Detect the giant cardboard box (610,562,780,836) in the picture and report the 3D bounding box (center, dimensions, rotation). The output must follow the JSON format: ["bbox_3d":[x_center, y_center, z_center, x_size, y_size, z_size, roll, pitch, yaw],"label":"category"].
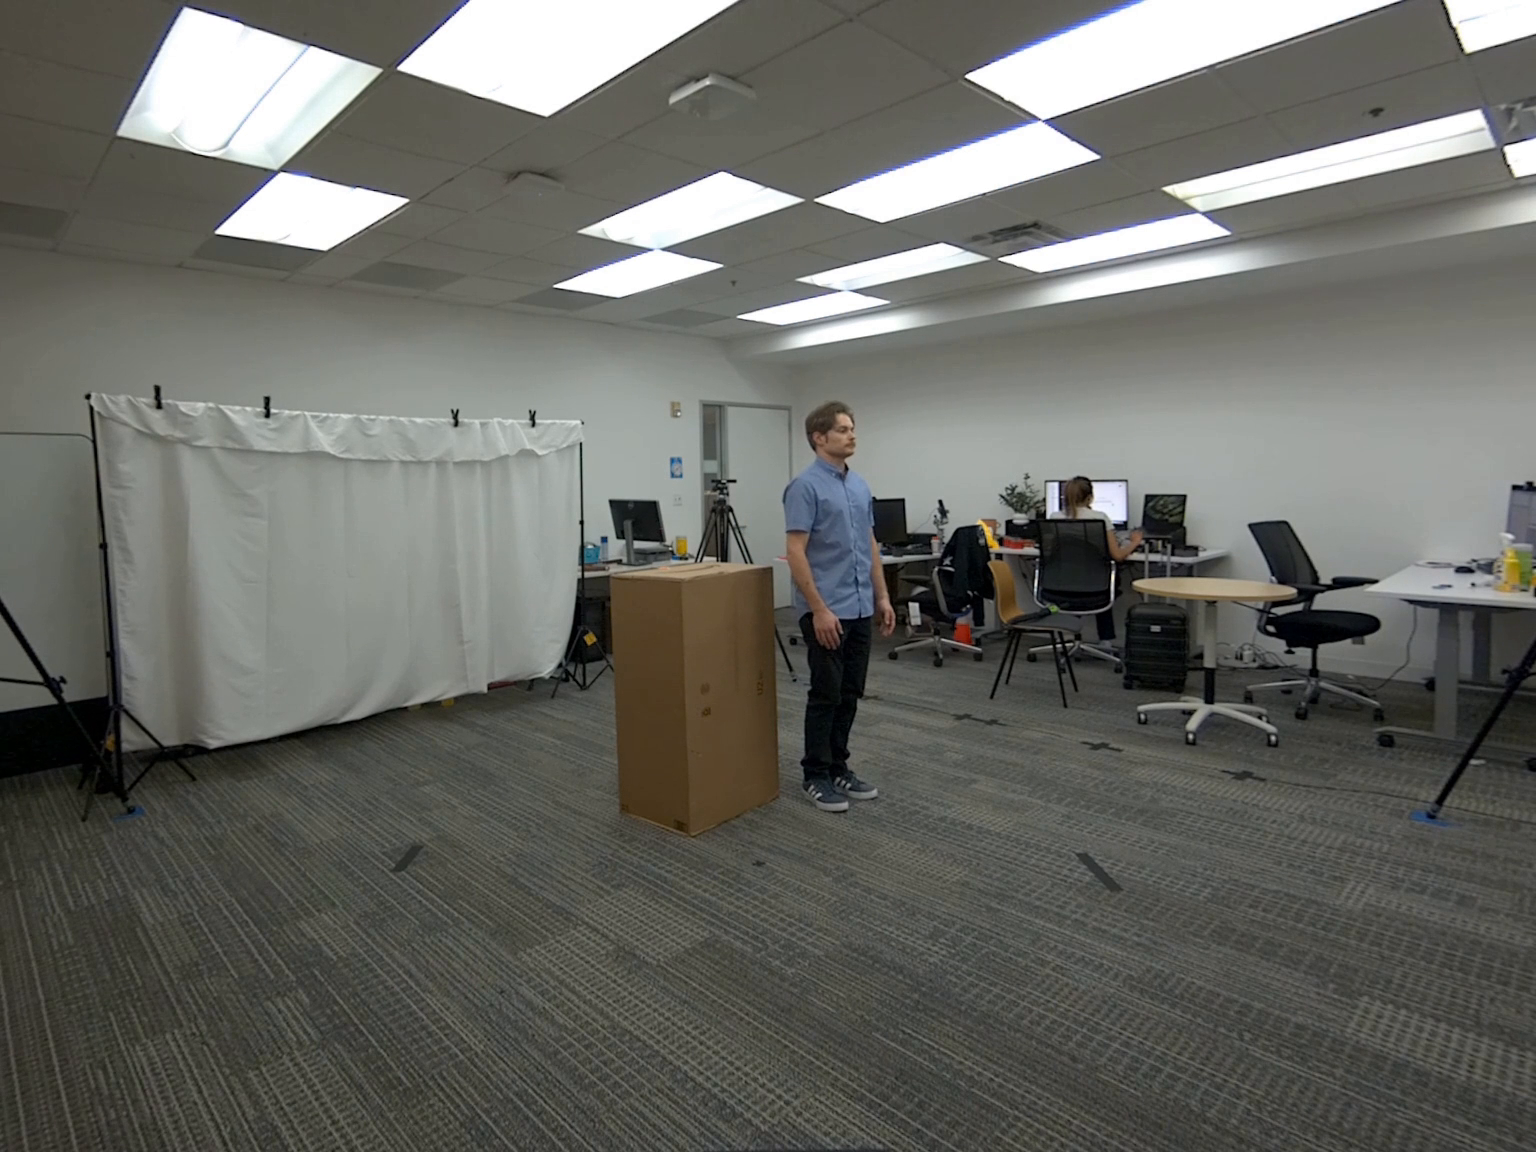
[{"bbox_3d":[-0.309,0.483,3.662,0.439,1.022,0.562,2,5,41],"label":"giant cardboard box"}]
